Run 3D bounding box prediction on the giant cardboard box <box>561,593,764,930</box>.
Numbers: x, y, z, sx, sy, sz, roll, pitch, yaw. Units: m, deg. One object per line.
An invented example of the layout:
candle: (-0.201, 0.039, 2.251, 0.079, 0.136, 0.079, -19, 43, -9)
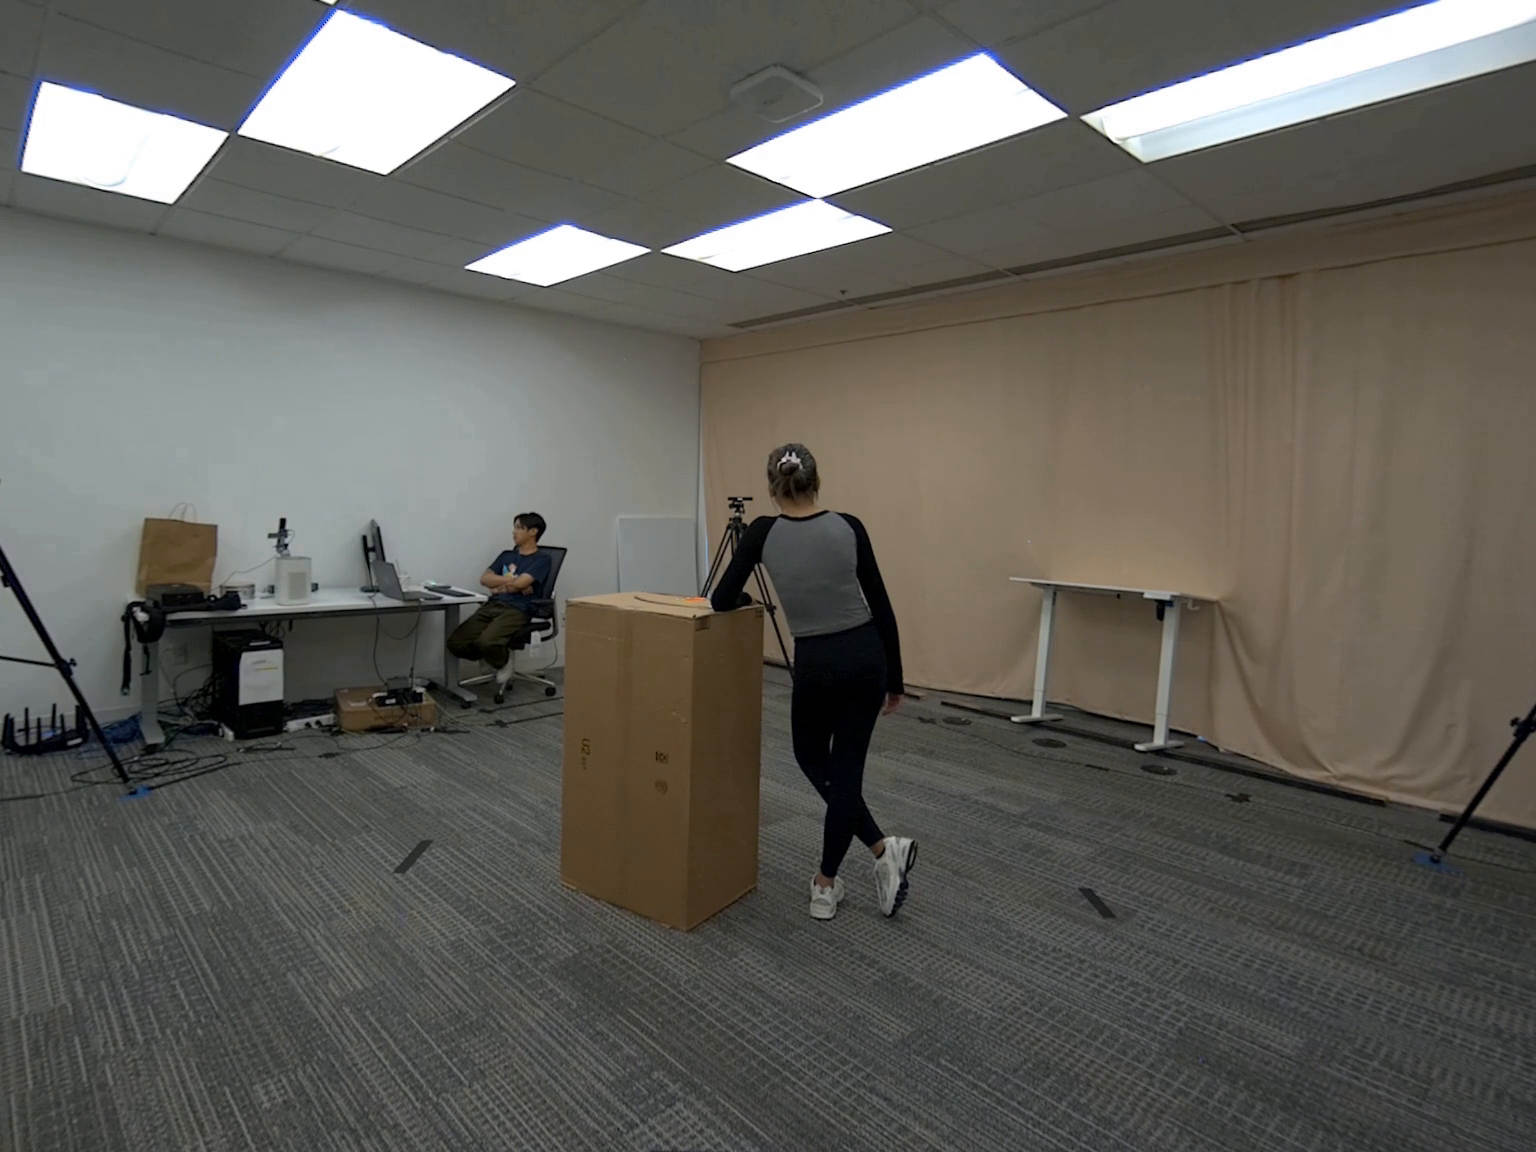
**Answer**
giant cardboard box: (-0.384, 0.603, 2.999, 0.591, 1.023, 0.417, 4, 4, 34)
